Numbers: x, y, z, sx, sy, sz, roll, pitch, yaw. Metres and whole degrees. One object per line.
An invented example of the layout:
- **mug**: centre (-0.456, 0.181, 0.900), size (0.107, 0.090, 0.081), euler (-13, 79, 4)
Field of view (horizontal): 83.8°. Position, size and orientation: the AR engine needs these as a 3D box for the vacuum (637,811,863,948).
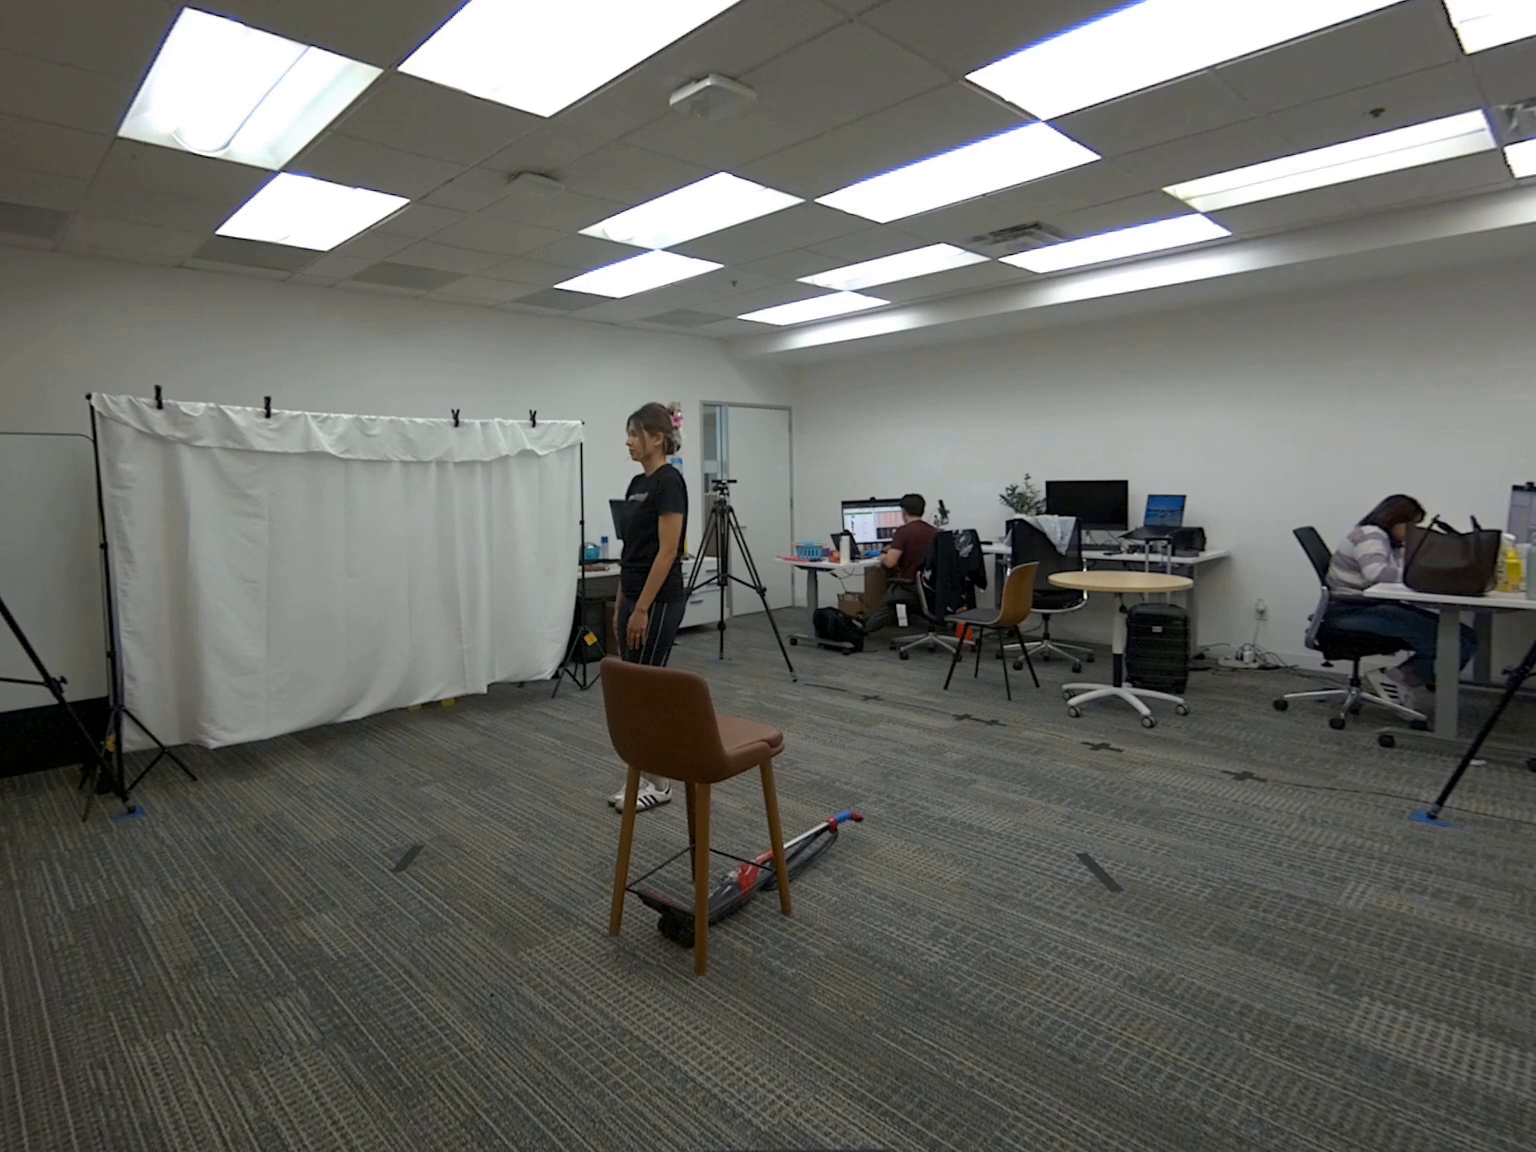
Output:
- **vacuum**: centre (0.043, 1.007, 2.968), size (0.260, 0.143, 1.022), euler (4, 7, 41)
